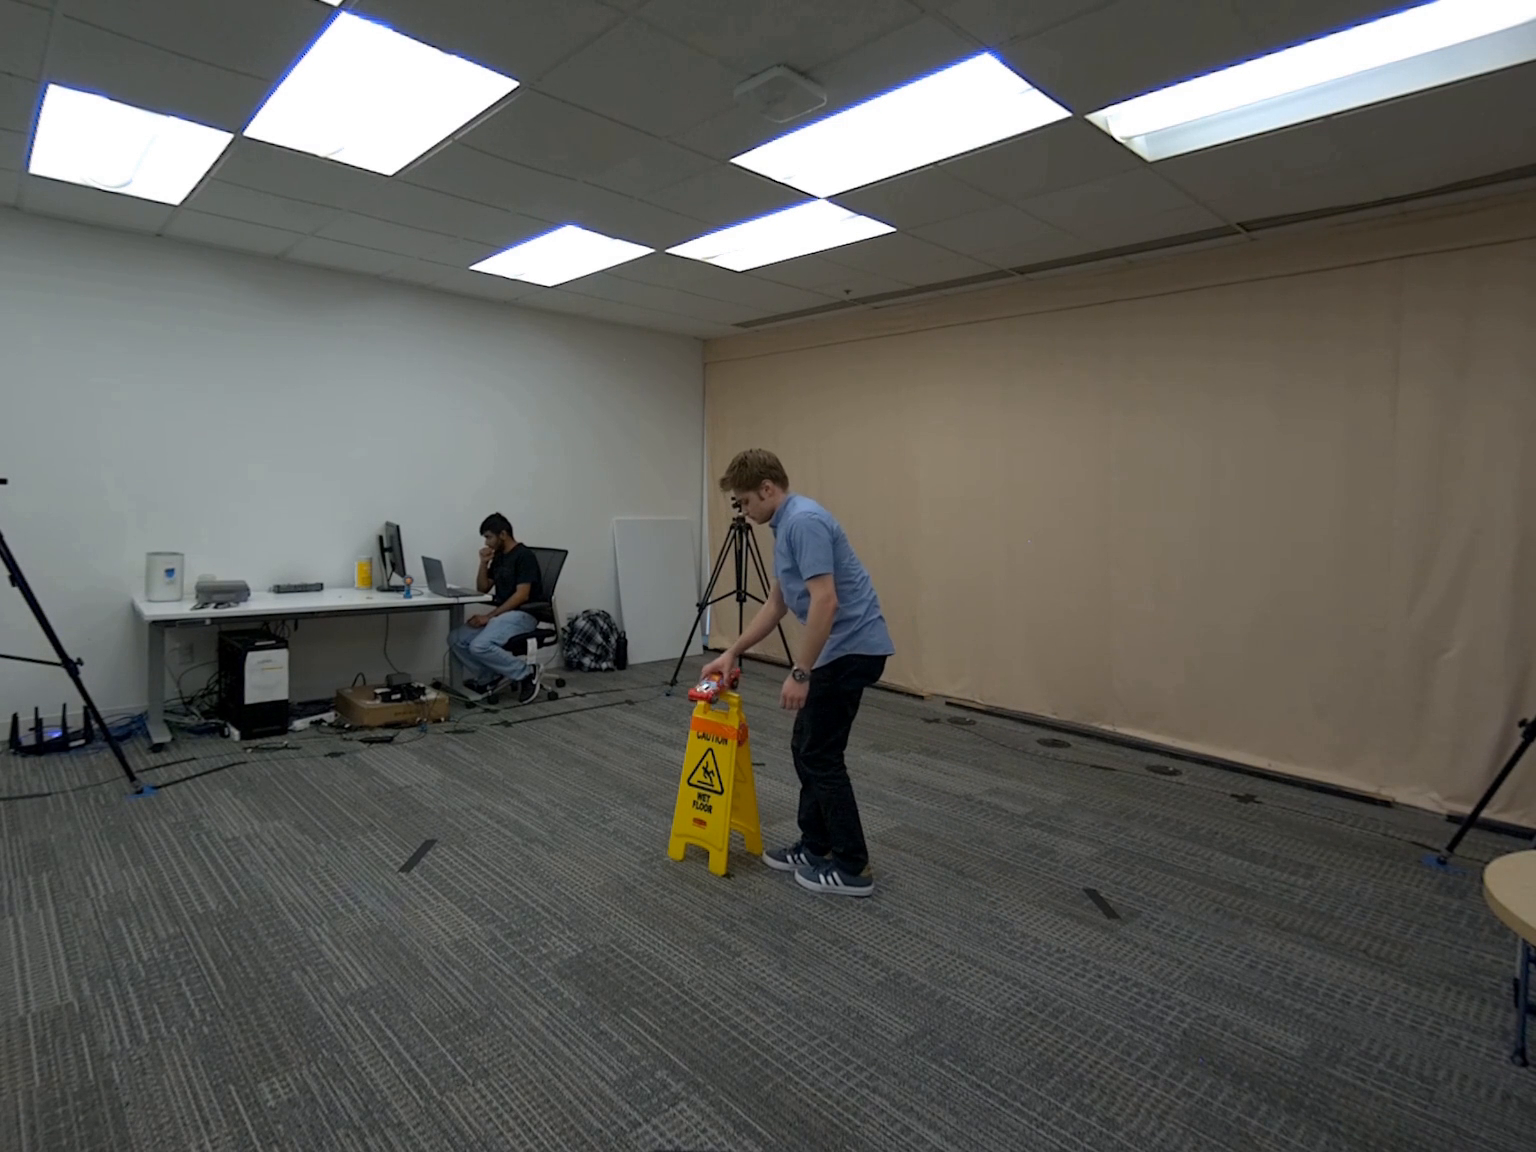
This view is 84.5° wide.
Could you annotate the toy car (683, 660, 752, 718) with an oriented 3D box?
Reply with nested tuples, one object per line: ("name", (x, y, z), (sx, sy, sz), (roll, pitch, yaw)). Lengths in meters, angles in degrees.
("toy car", (-0.192, 0.423, 3.243), (0.133, 0.081, 0.254), (0, 27, 32))
